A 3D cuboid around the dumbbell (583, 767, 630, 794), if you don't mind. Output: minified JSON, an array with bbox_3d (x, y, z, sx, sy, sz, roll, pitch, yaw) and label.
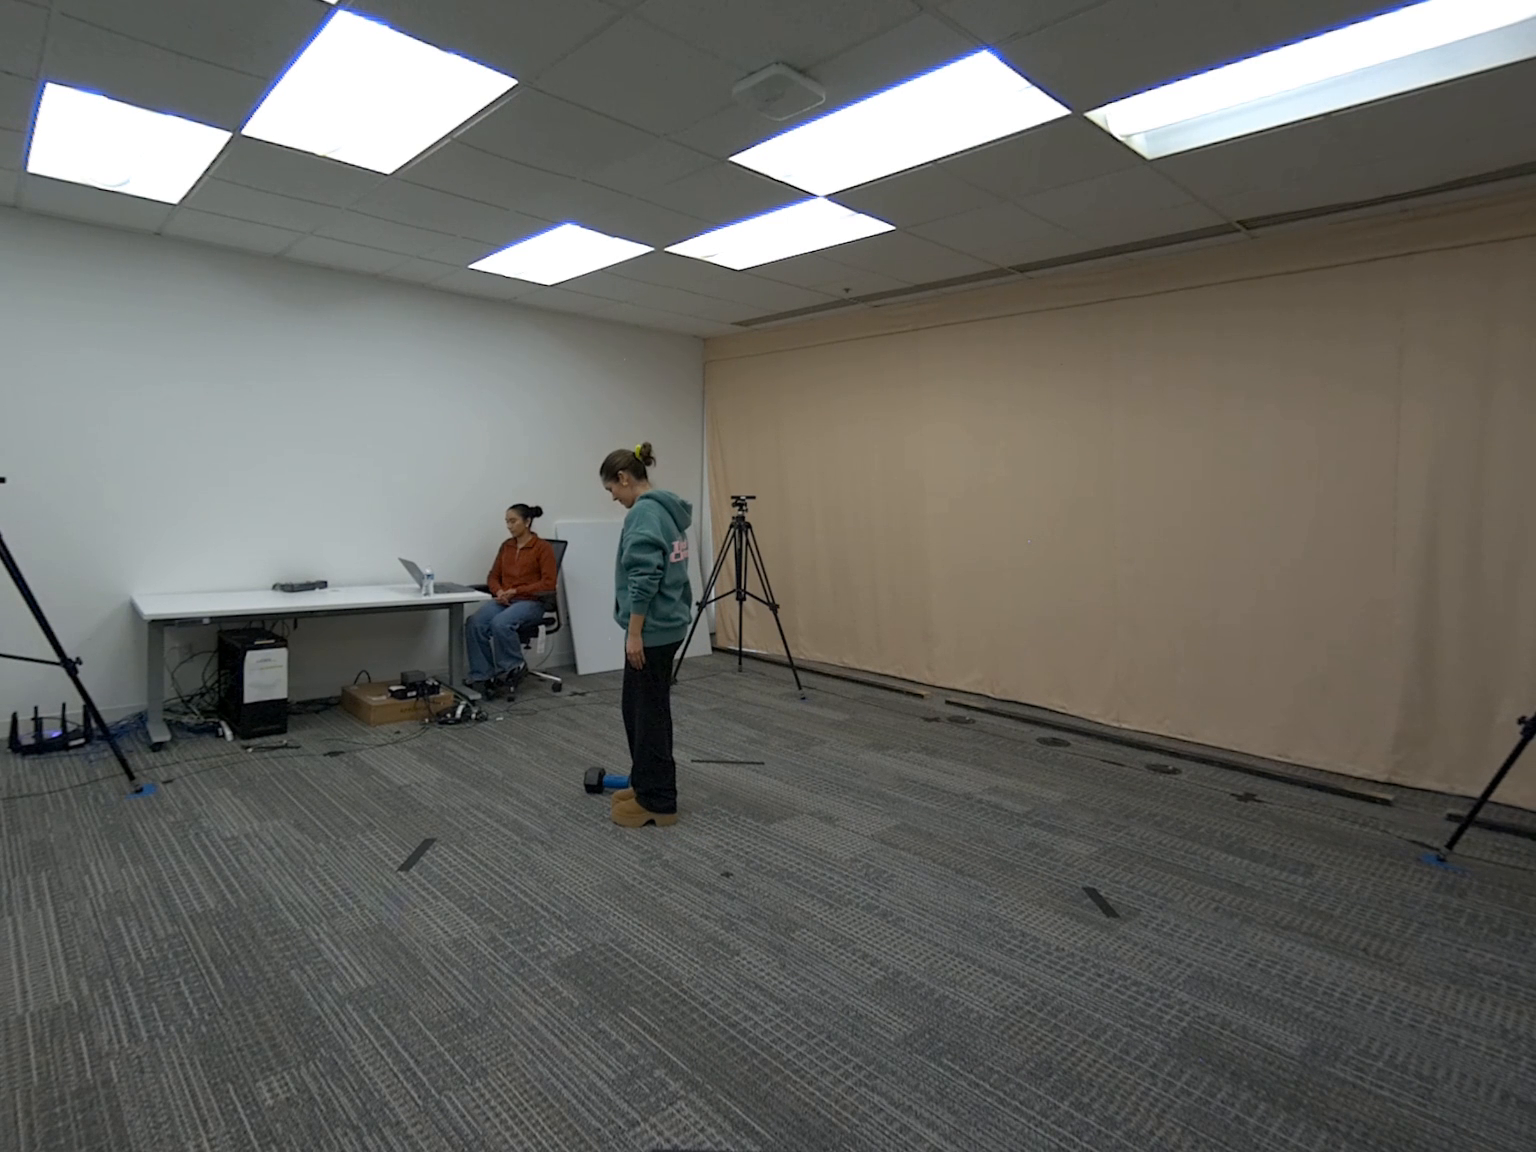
[{"bbox_3d":[-0.716,0.962,3.929,0.296,0.125,0.106,2,-25,10],"label":"dumbbell"}]
